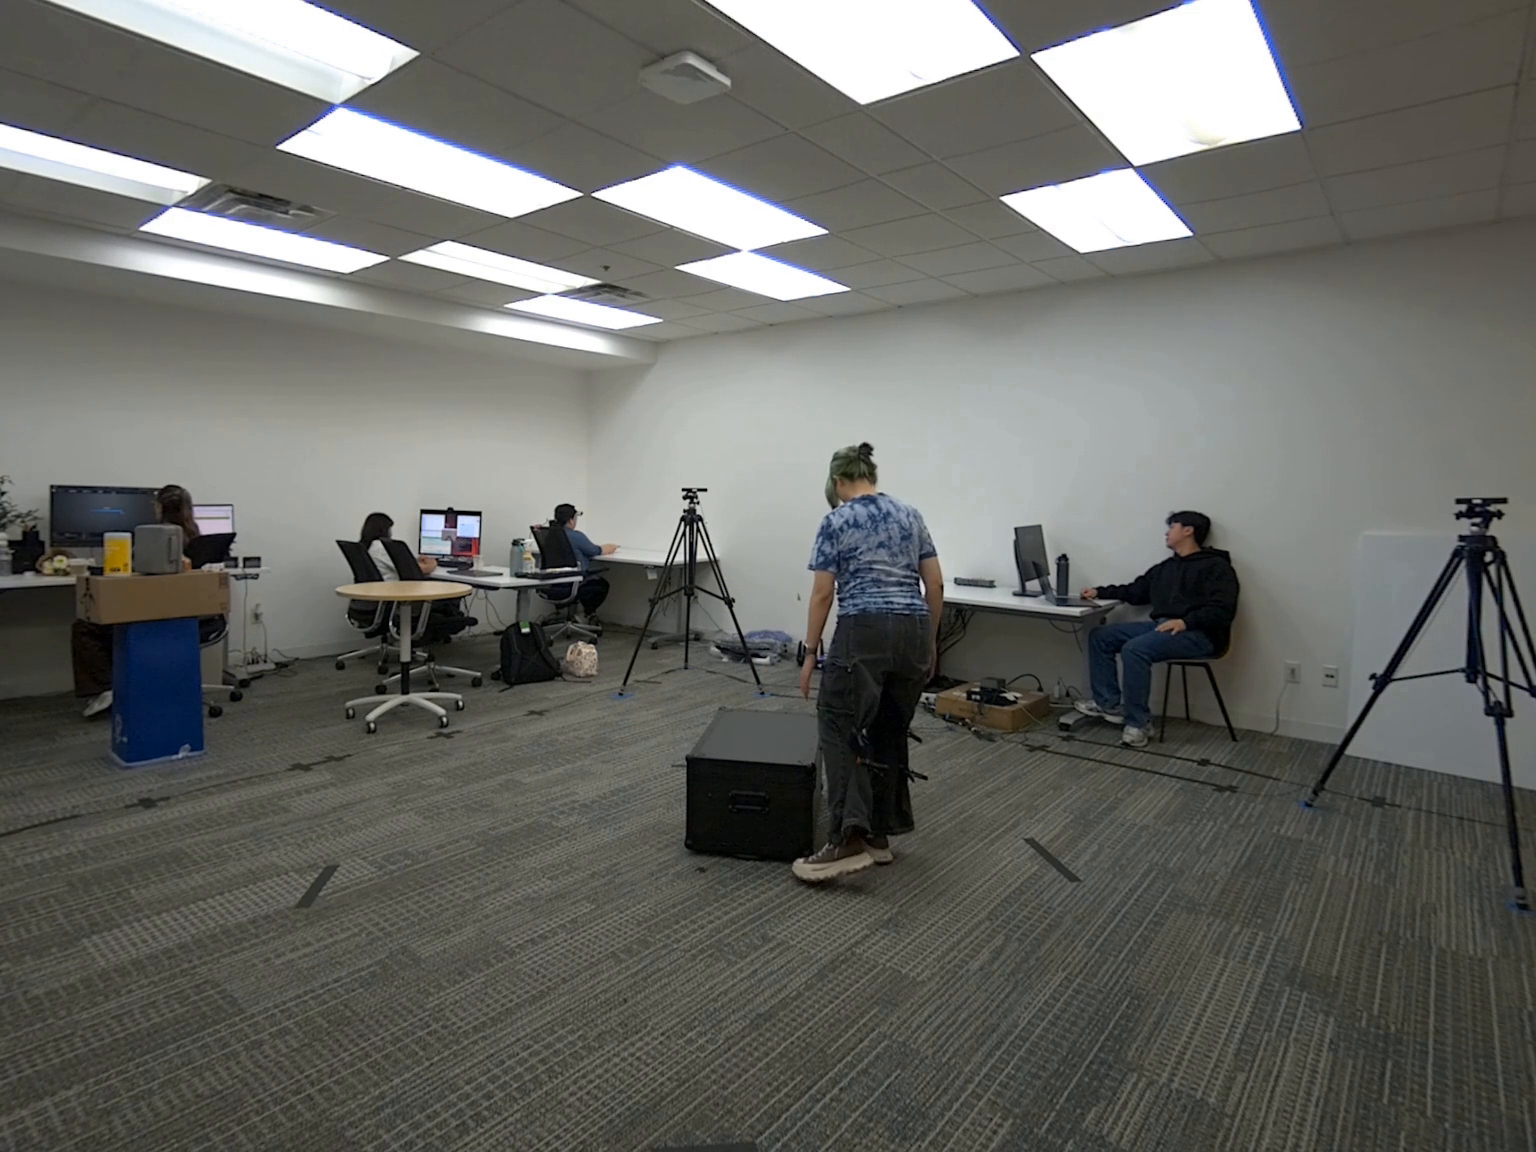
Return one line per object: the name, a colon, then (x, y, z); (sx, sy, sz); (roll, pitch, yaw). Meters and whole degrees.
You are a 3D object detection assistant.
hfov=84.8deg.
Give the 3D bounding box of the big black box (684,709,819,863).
big black box: (-0.038, 0.830, 3.591); (0.526, 0.394, 0.857); (1, 6, 7)
